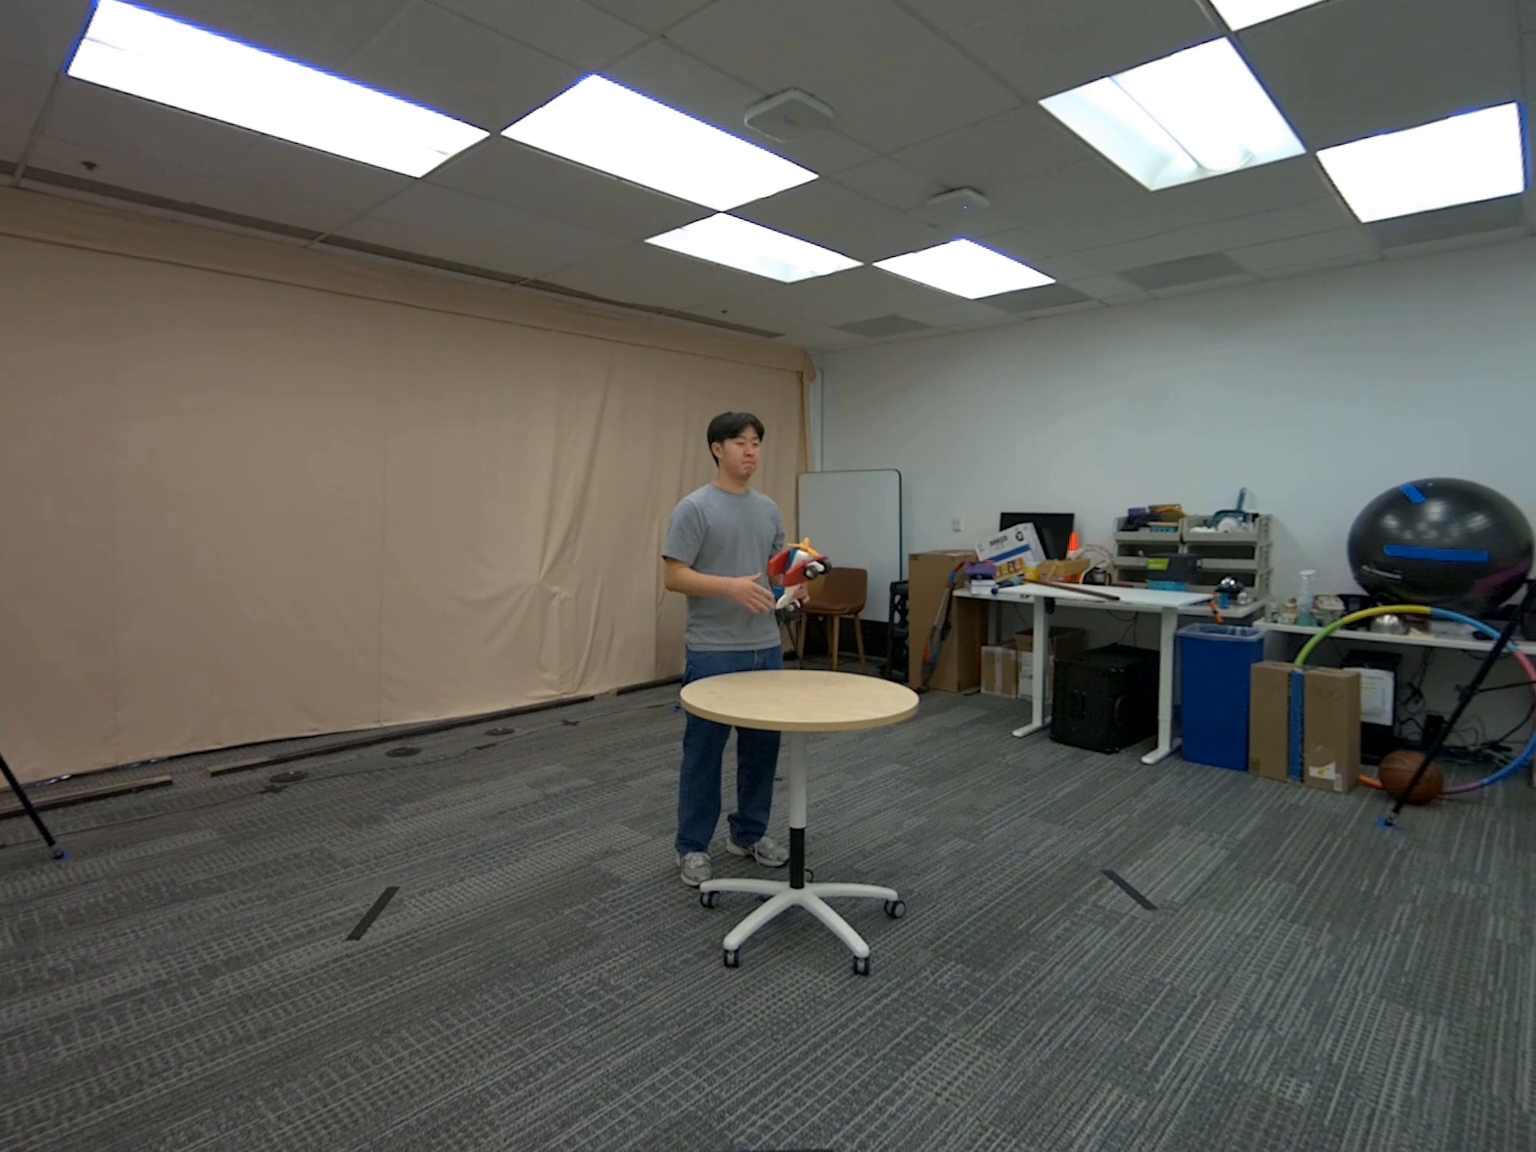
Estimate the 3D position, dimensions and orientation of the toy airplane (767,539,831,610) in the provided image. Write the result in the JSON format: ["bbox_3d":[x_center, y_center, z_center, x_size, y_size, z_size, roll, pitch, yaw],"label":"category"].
[{"bbox_3d":[0.084,-0.007,3.012,0.160,0.260,0.244,48,9,20],"label":"toy airplane"}]
